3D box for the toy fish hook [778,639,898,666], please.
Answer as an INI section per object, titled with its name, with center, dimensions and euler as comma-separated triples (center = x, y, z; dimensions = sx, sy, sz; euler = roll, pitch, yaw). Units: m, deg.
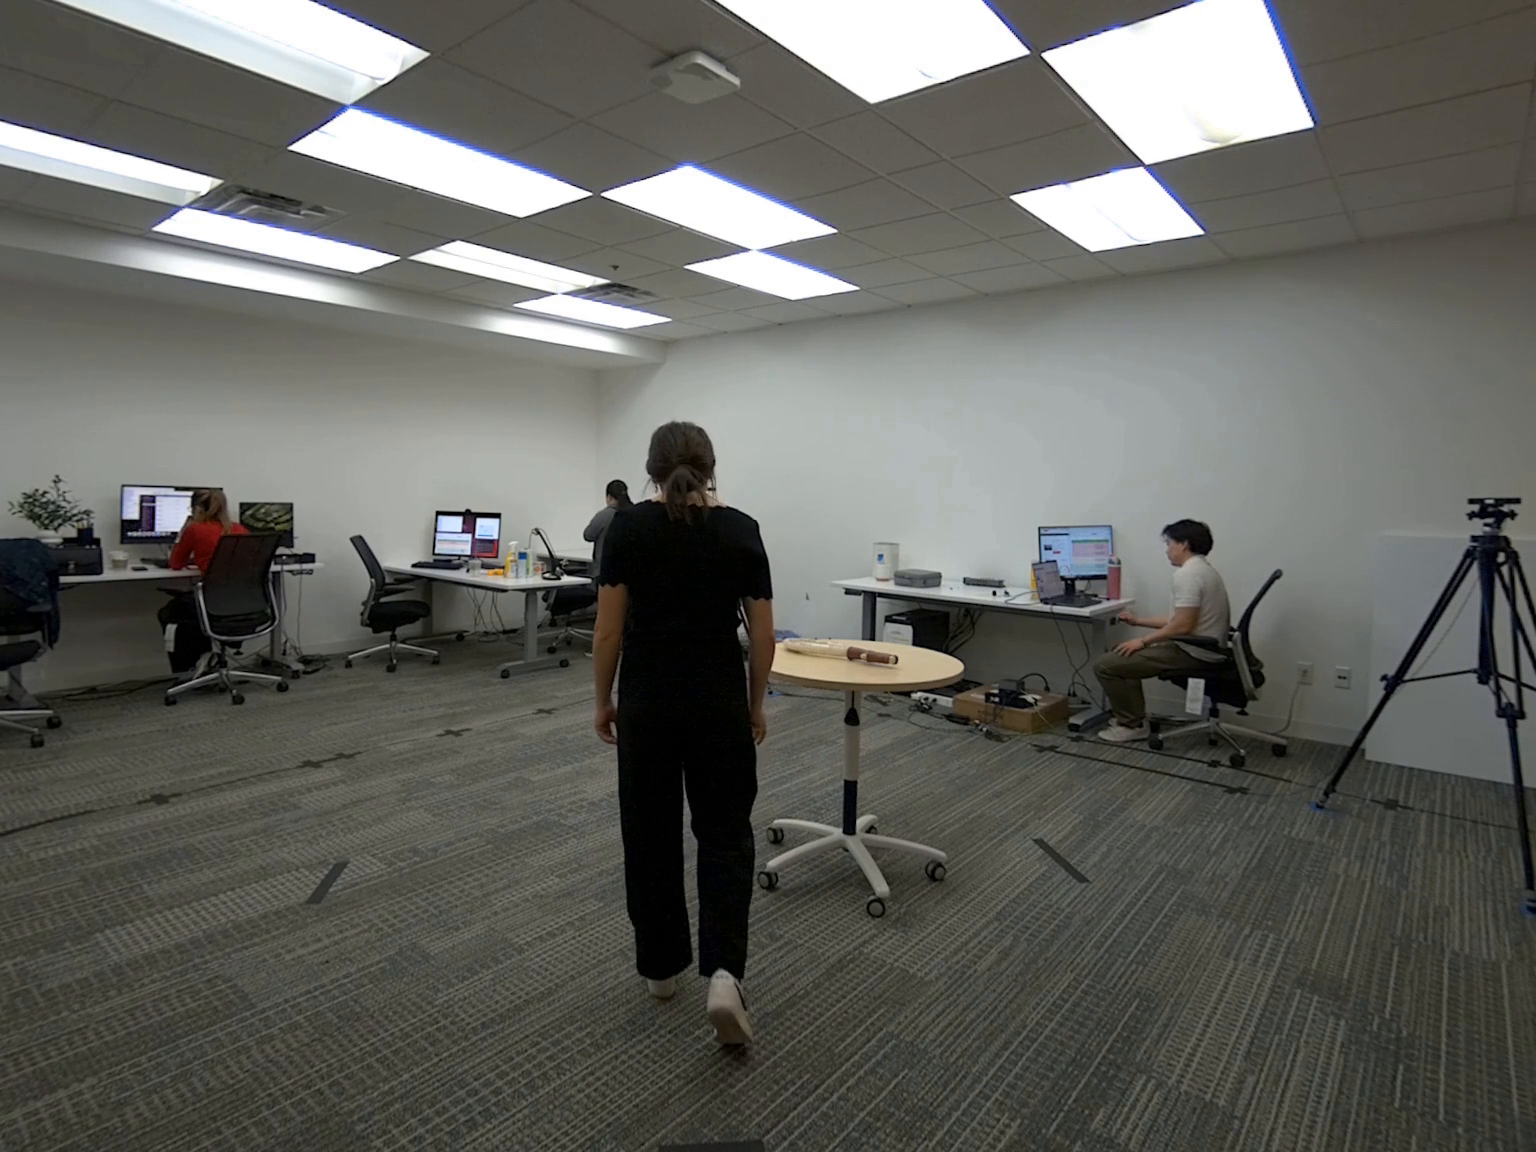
[toy fish hook]
center = 0.274, 0.268, 3.136
dimensions = 0.524, 0.048, 0.218
euler = 5, 11, 44
